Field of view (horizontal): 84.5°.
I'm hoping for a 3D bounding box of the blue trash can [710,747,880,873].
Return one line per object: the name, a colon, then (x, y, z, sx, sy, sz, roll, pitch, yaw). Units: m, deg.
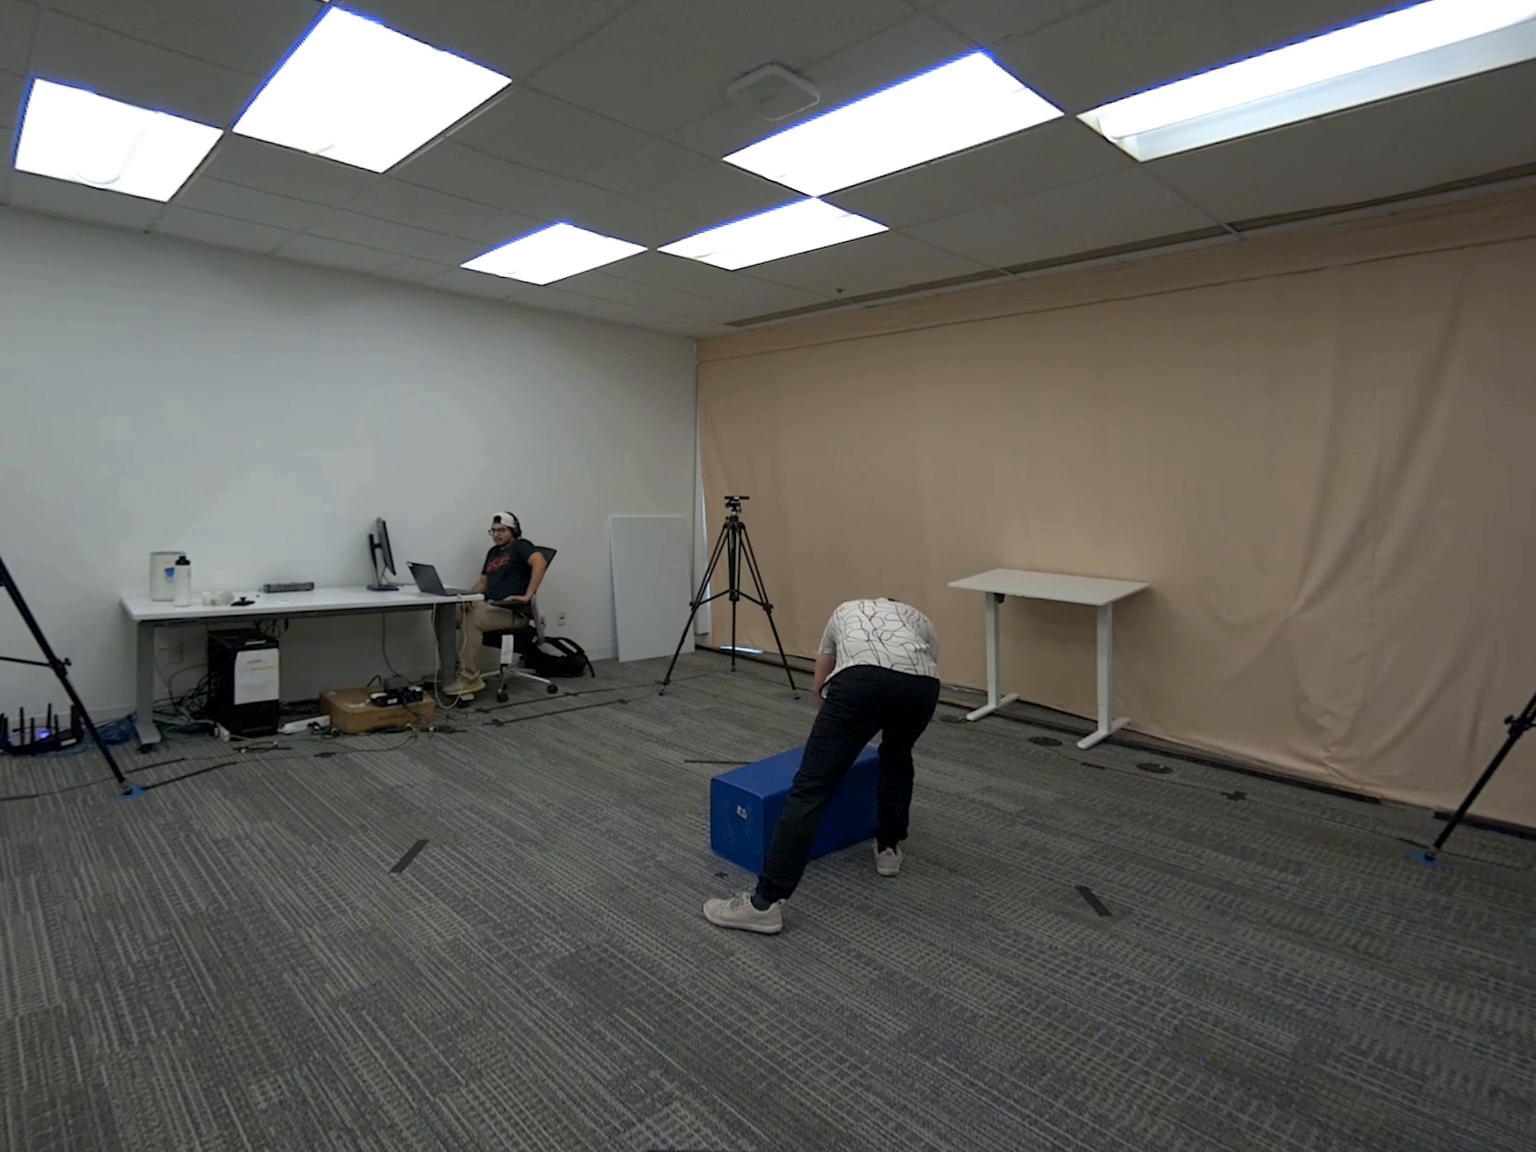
blue trash can: (0.123, 0.914, 3.414, 0.698, 0.377, 0.384, -5, 8, -41)
